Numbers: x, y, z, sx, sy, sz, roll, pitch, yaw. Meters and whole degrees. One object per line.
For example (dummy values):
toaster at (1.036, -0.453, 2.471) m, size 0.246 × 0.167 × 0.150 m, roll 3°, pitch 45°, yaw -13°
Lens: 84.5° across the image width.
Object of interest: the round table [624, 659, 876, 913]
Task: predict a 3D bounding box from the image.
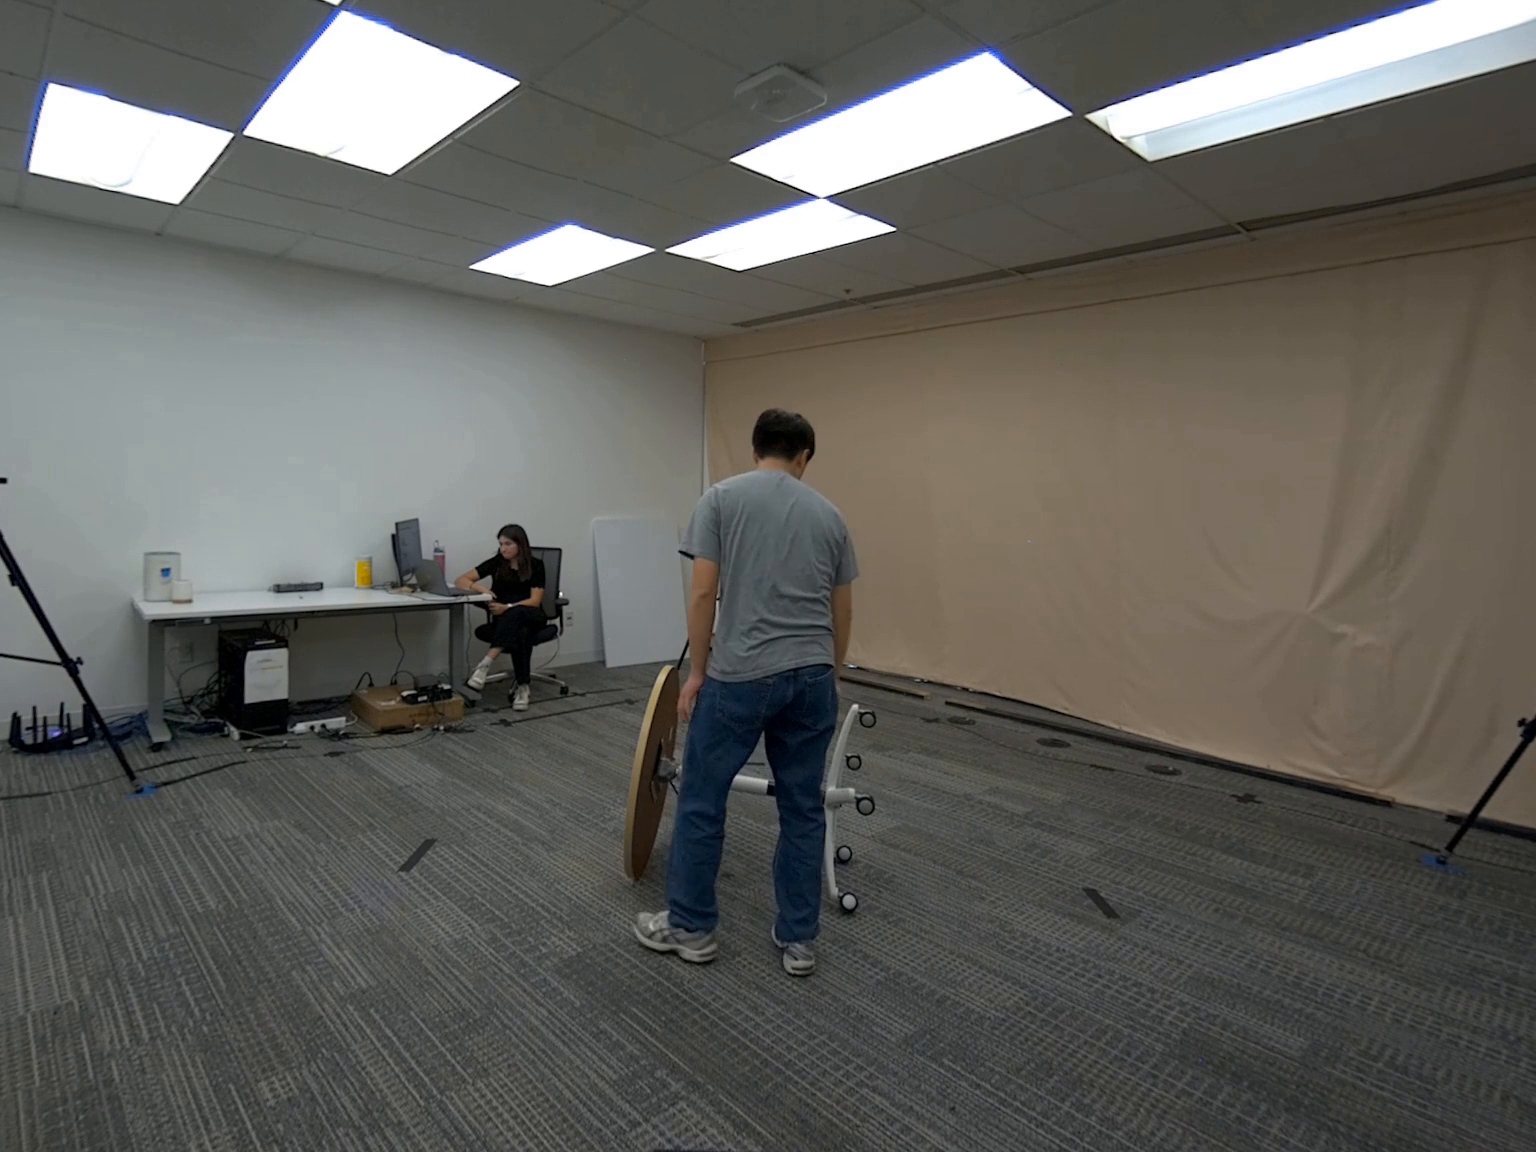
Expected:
round table at (-0.048, 0.776, 3.088) m, size 0.797 × 0.762 × 0.763 m, roll 8°, pitch 5°, yaw 4°
